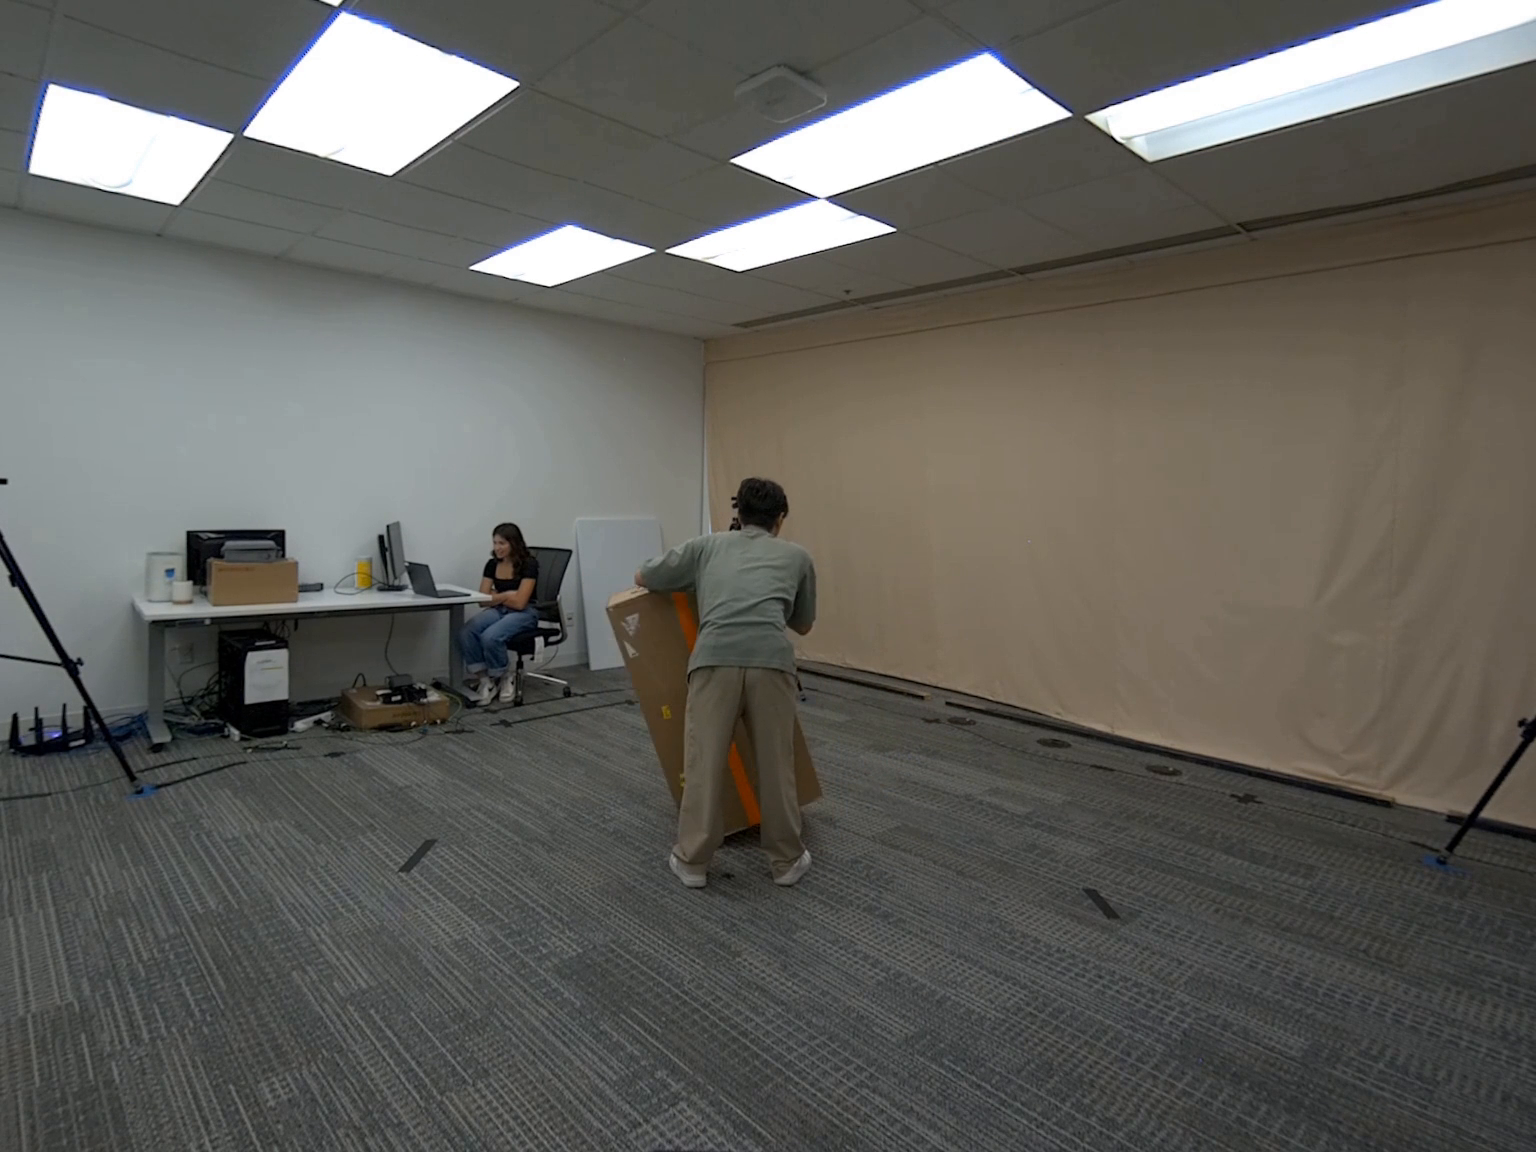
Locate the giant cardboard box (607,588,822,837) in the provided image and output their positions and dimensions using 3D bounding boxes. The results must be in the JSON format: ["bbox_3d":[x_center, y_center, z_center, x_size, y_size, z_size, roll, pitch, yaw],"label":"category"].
[{"bbox_3d":[-0.233,0.496,3.532,0.576,1.021,0.429,-19,5,-5],"label":"giant cardboard box"}]
